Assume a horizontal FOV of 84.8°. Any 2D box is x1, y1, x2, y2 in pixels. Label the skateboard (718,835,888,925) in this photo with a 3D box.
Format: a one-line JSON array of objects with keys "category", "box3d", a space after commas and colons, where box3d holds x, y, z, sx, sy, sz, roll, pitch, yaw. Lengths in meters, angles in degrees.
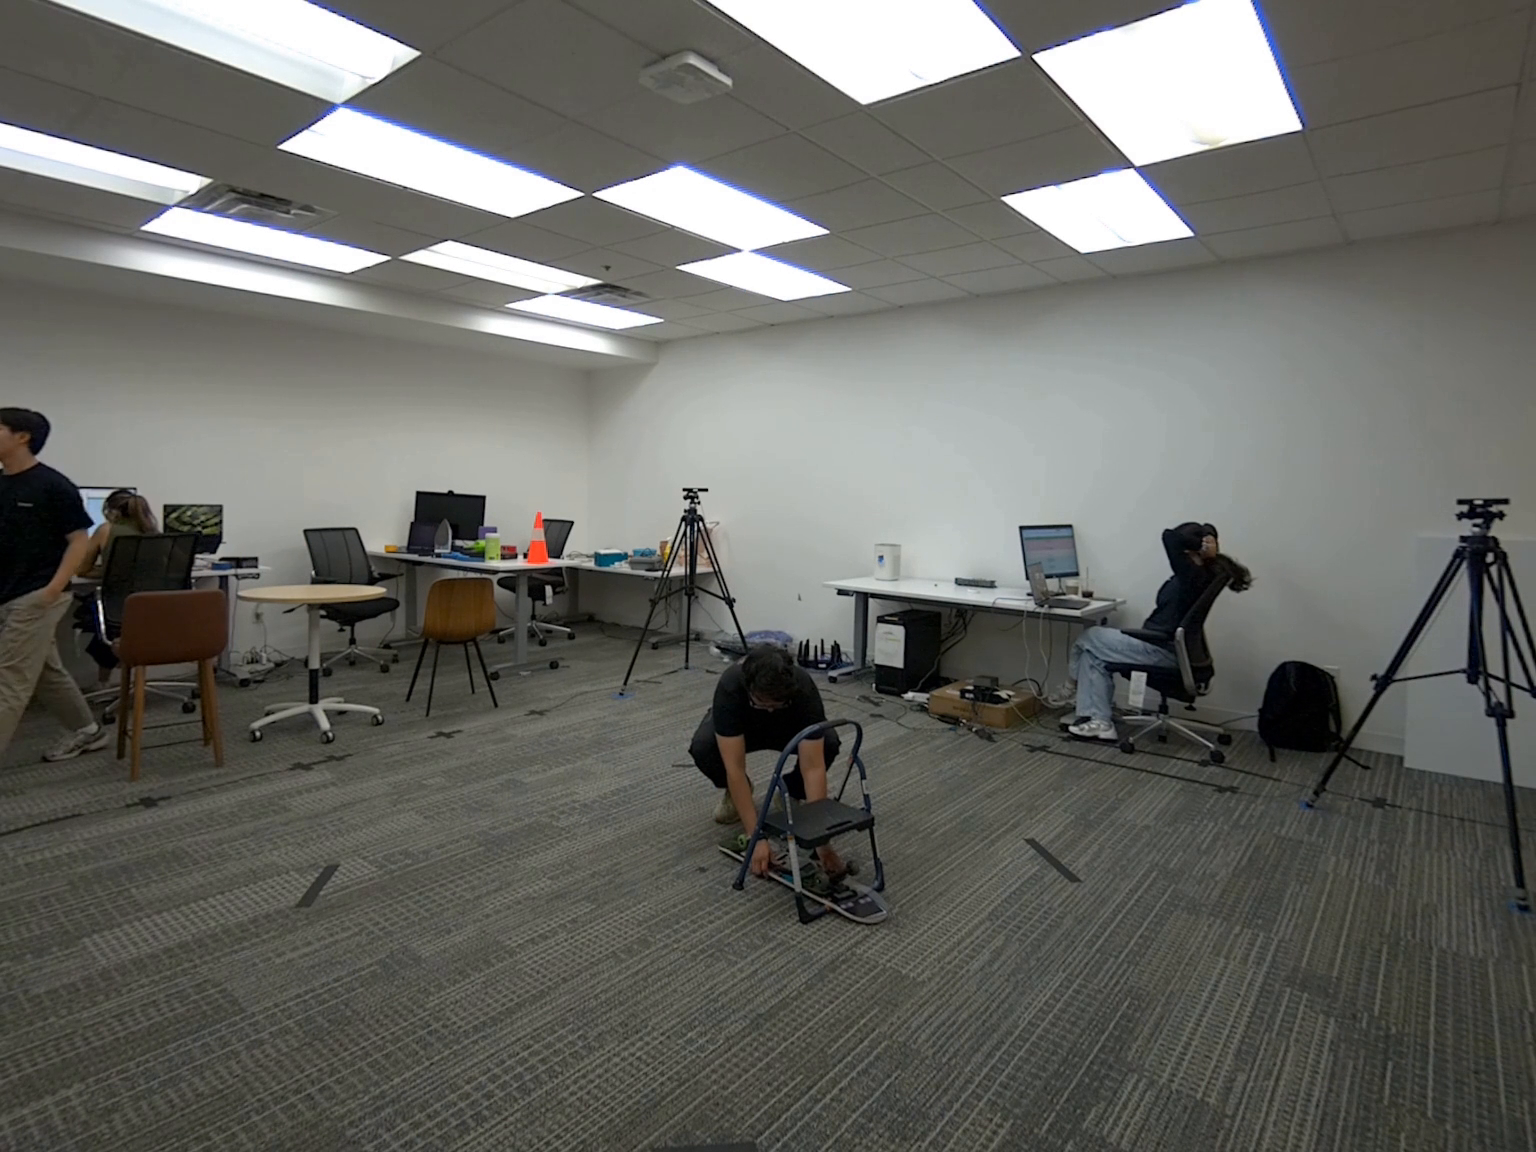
[{"category": "skateboard", "box3d": [0.098, 1.030, 3.058, 0.188, 0.110, 0.812, -4, 7, -42]}]
